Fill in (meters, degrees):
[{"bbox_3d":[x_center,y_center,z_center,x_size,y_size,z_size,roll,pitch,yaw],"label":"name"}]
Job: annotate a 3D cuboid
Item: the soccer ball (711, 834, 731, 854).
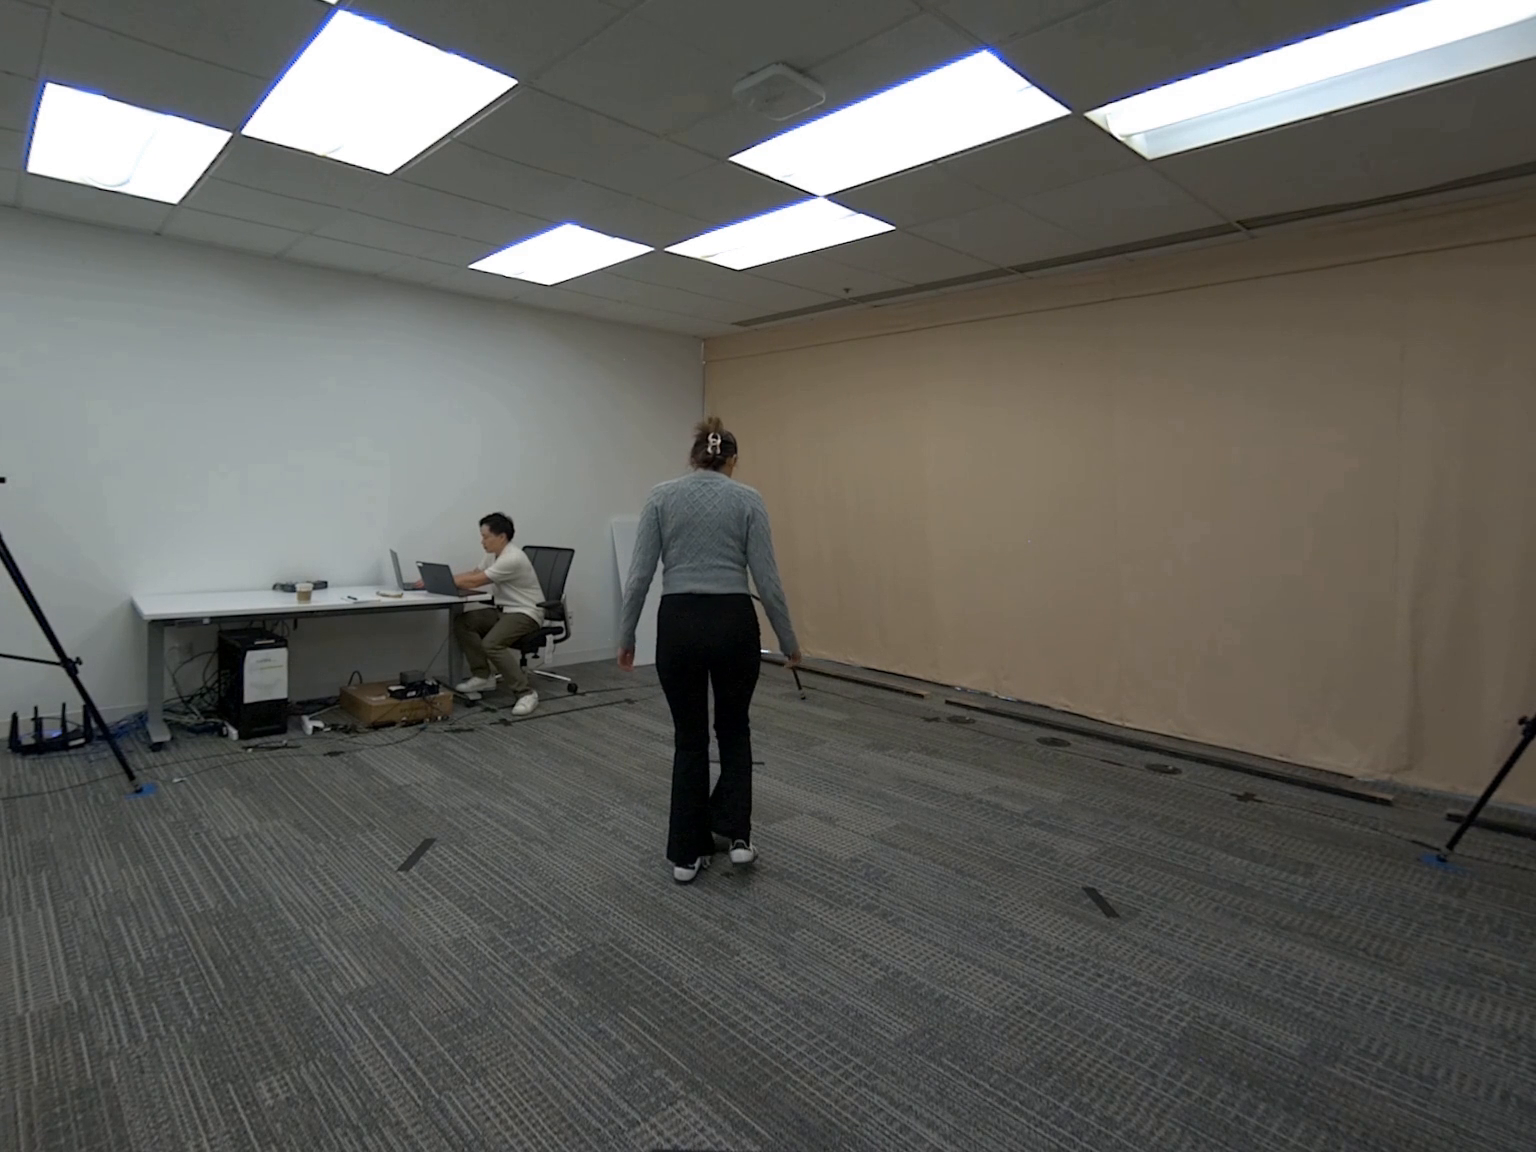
[{"bbox_3d":[-0.199,0.994,3.334,0.187,0.187,0.188,1,4,-1],"label":"soccer ball"}]
